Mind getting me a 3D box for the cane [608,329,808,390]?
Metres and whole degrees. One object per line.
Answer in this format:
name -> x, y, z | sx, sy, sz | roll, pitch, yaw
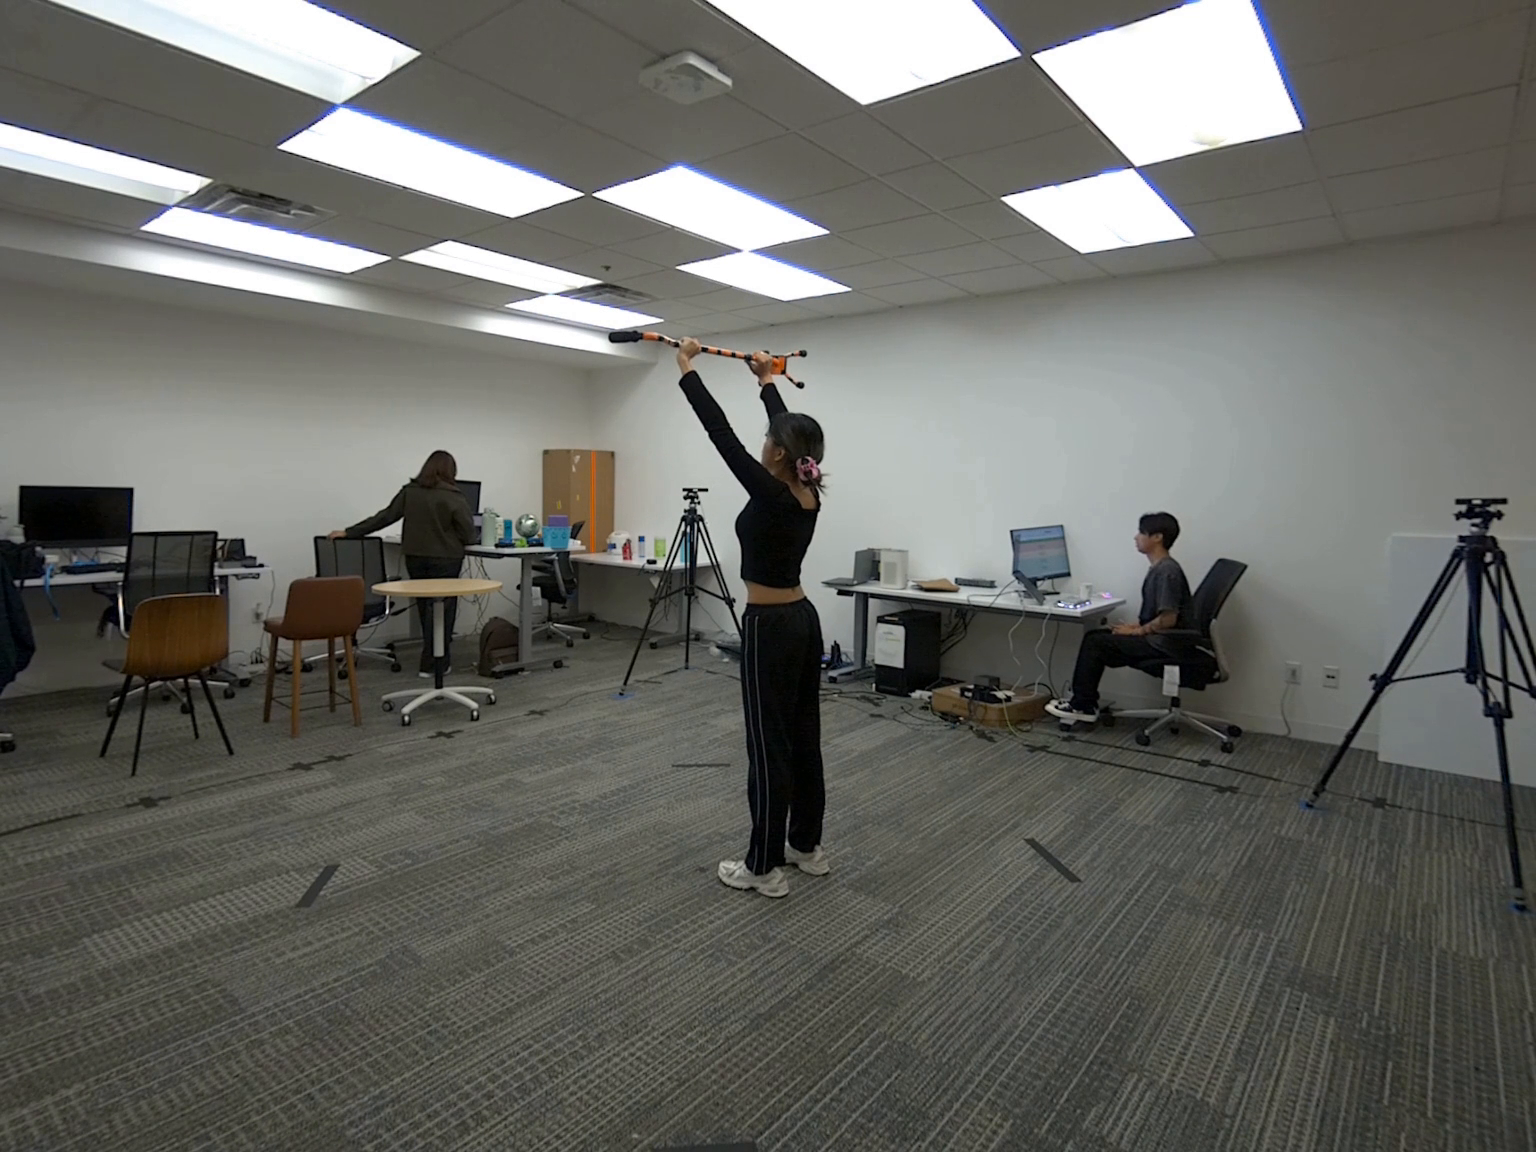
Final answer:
cane -> -0.194, -0.793, 3.041 | 0.213, 0.150, 0.883 | 8, 10, 34
